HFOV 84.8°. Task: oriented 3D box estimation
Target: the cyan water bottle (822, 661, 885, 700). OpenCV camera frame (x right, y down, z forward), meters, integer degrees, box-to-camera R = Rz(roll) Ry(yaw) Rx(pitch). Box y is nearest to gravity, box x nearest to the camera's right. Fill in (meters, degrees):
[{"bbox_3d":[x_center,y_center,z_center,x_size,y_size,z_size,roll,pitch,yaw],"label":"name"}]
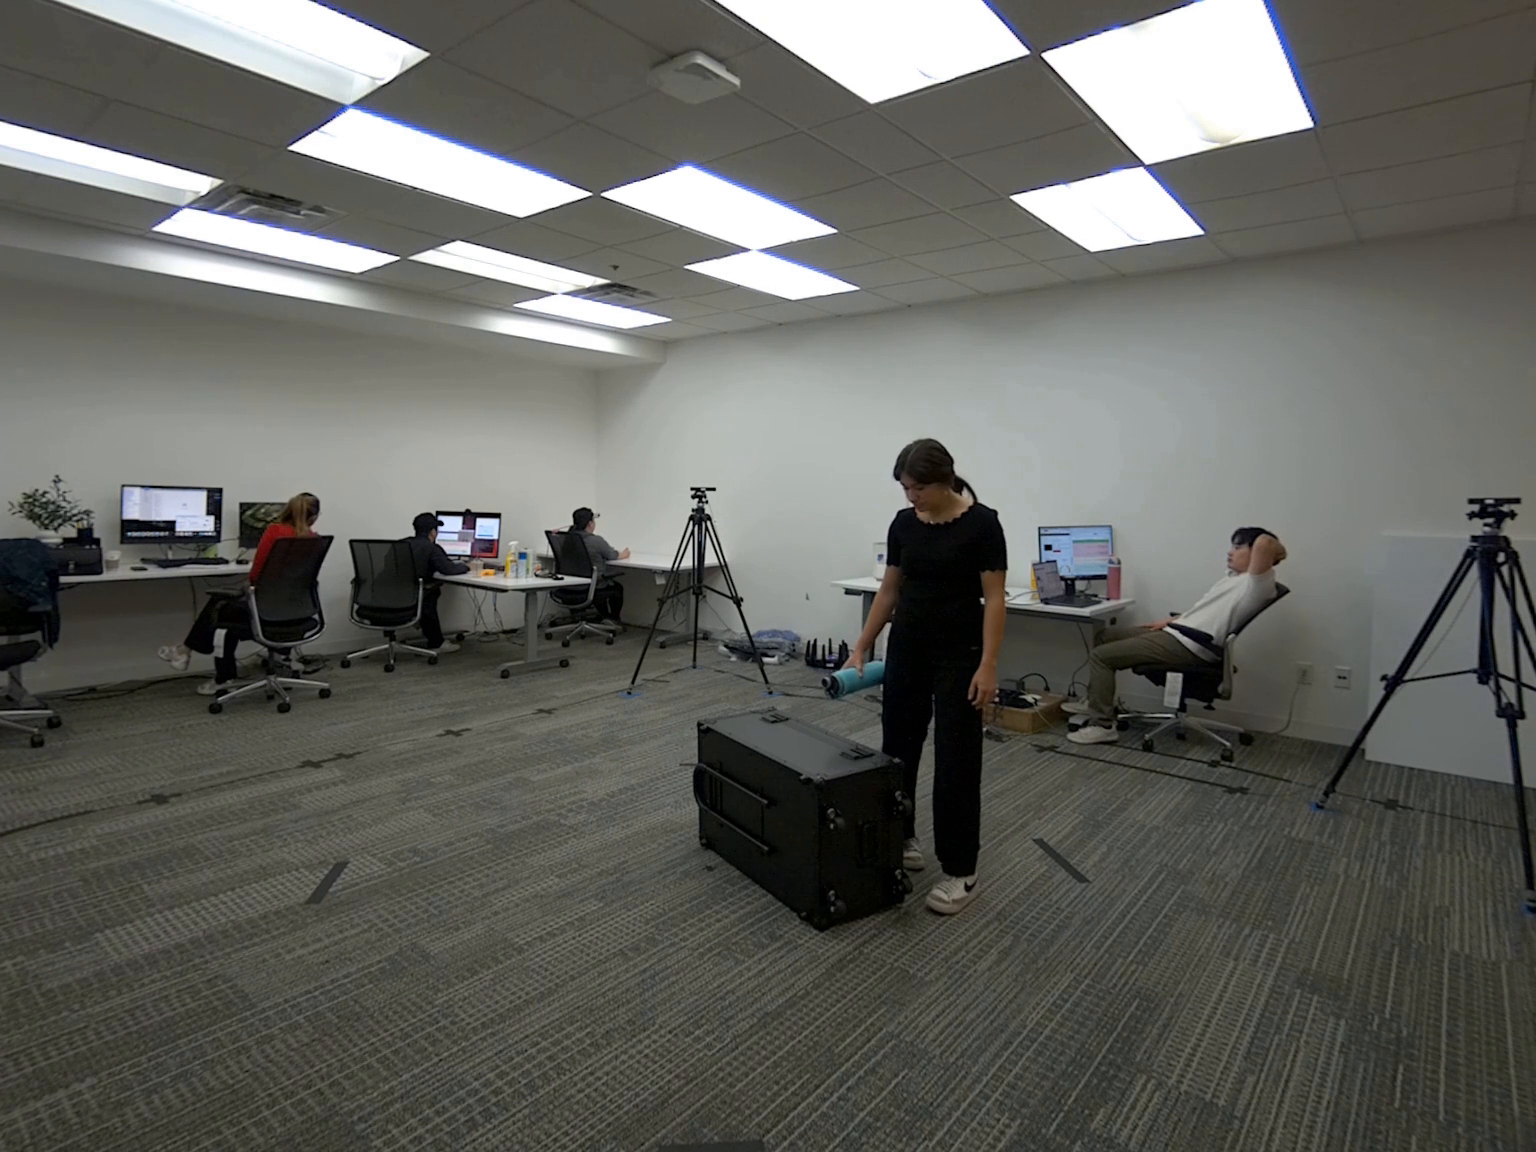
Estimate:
[{"bbox_3d":[0.318,0.384,3.133,0.276,0.092,0.095,-9,9,-34],"label":"cyan water bottle"}]
